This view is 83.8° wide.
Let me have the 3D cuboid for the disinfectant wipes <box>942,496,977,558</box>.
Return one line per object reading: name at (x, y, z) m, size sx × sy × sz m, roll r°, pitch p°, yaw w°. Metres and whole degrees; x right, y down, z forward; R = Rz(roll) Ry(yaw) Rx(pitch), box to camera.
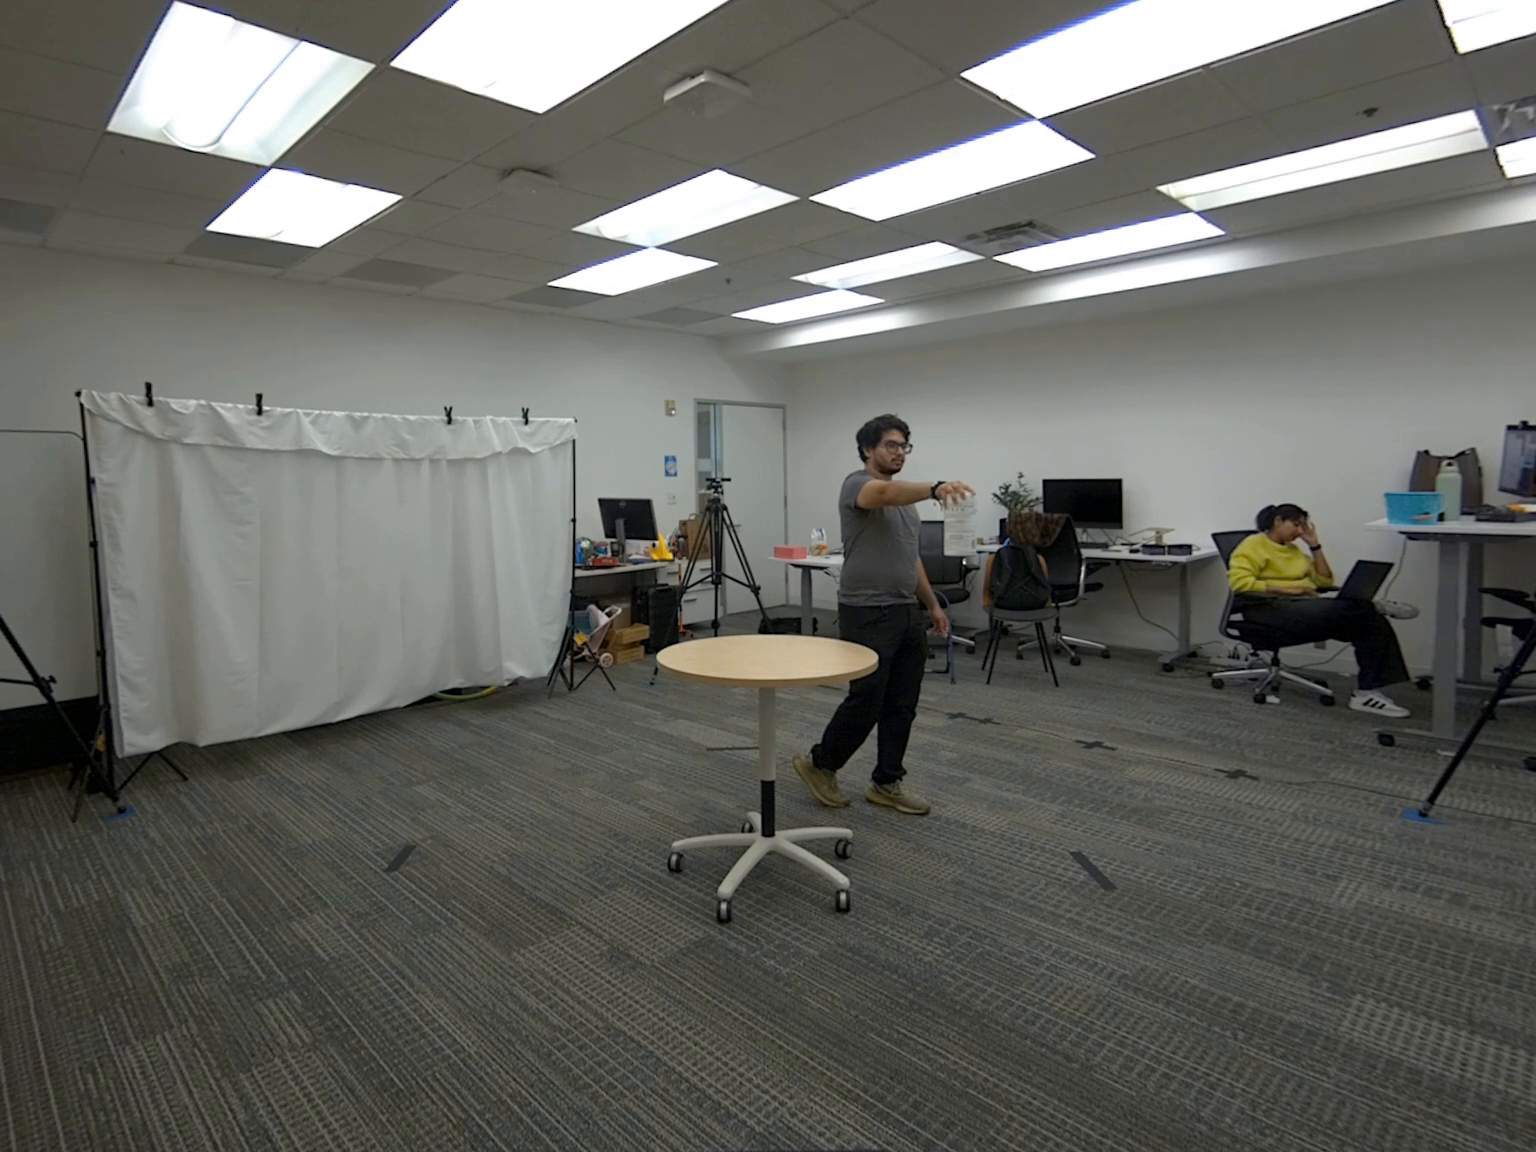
disinfectant wipes at (0.667, -0.171, 2.950) m, size 0.118 × 0.217 × 0.118 m, roll -2°, pitch 2°, yaw -2°
